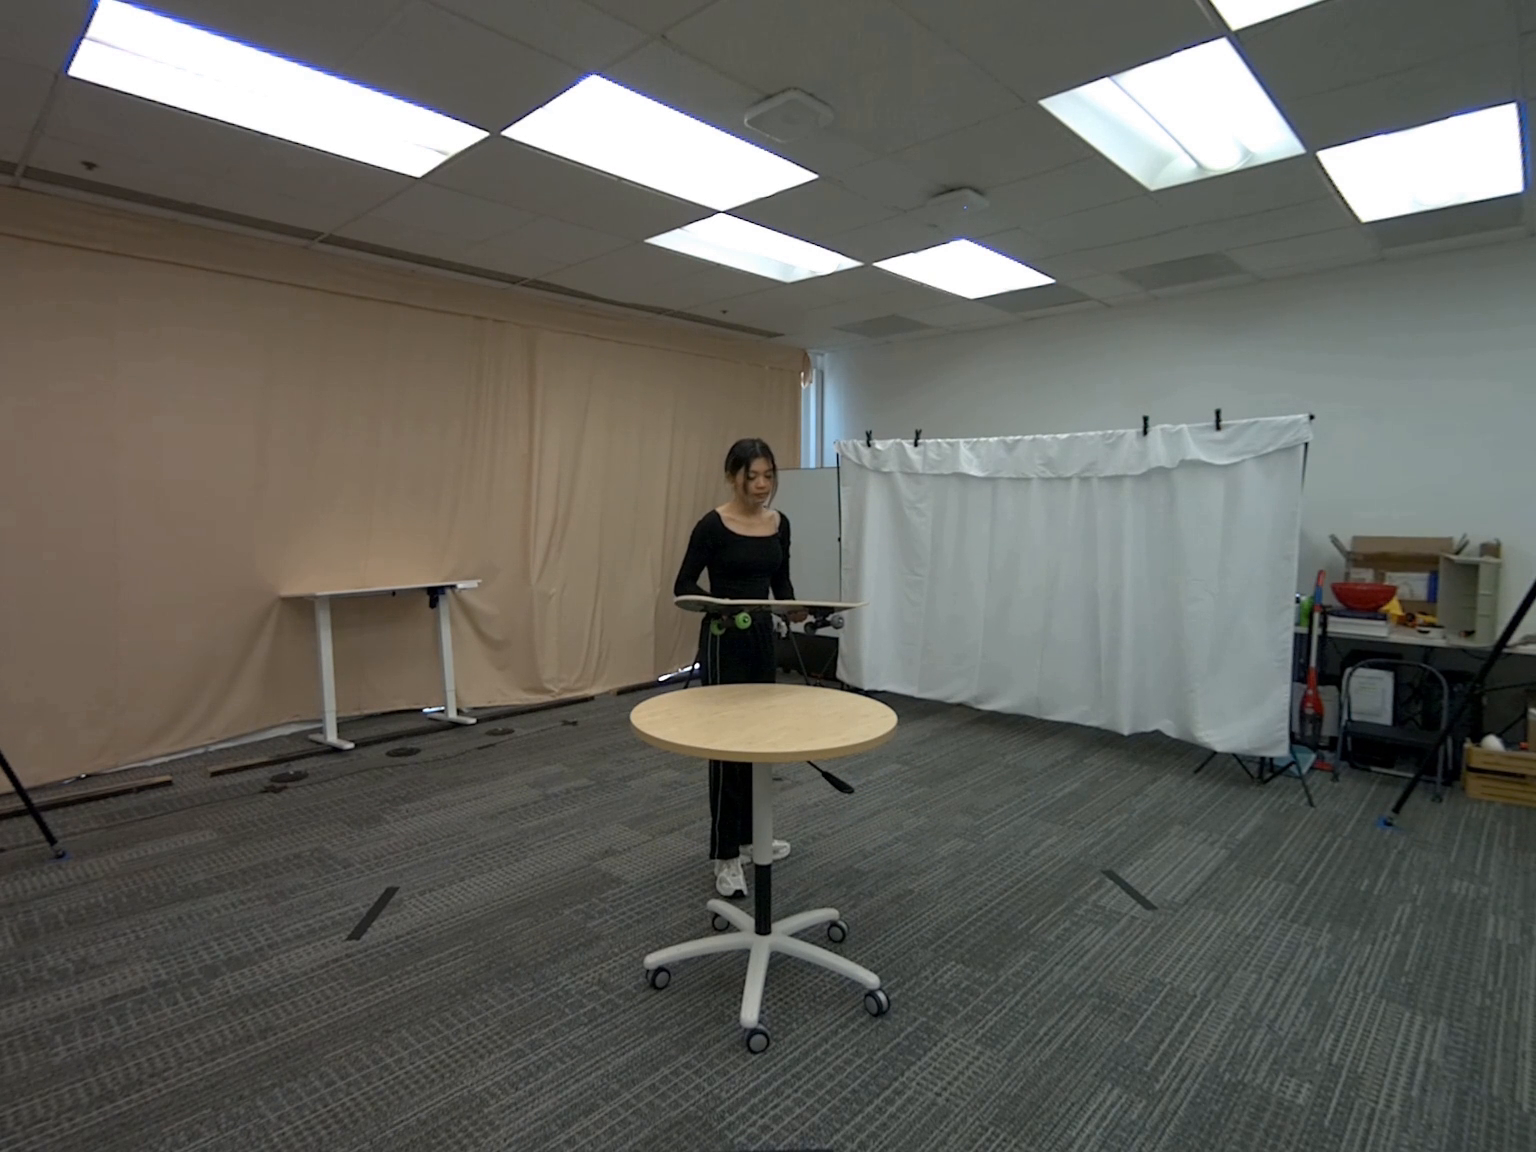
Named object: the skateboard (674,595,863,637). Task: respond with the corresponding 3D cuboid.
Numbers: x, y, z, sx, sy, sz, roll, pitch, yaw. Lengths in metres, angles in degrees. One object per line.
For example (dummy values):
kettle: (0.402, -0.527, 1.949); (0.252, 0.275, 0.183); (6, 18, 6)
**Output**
skateboard: (0.032, 0.141, 2.906); (0.761, 0.111, 0.198); (3, -14, -35)
